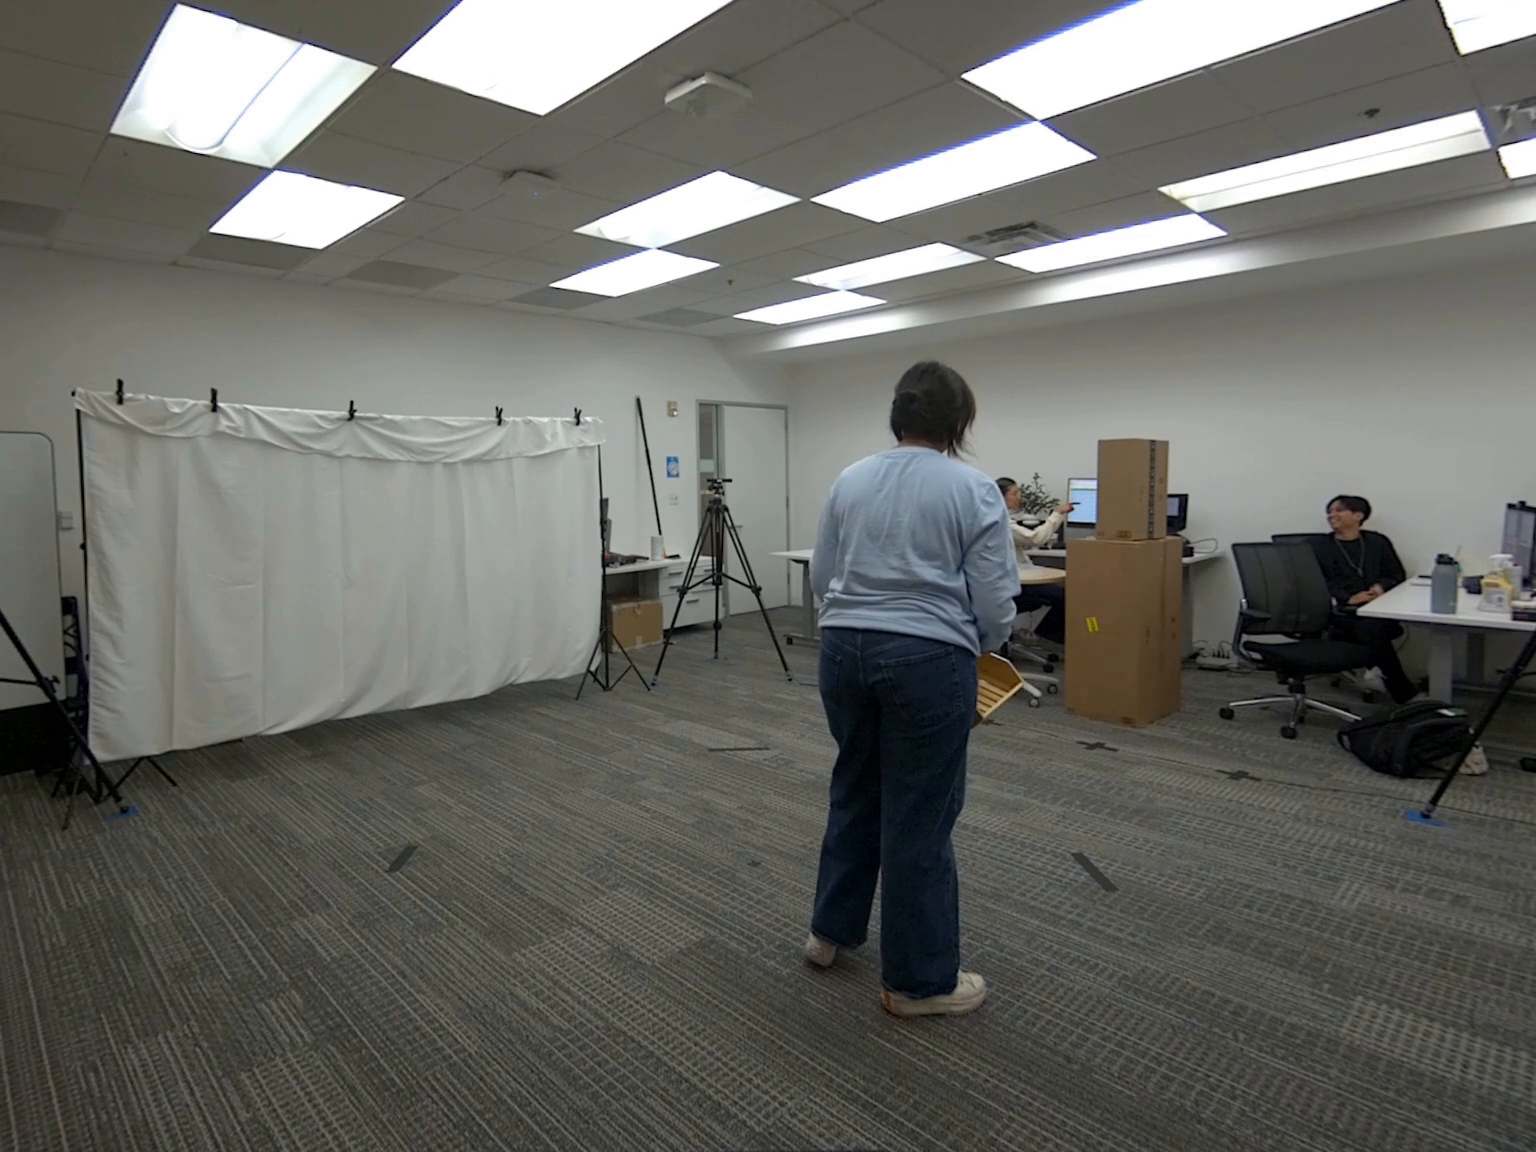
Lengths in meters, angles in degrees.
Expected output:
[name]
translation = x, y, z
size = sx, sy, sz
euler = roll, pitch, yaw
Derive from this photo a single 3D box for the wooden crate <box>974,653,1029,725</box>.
[wooden crate]
translation = 0.585, 0.218, 2.476
size = 0.312, 0.269, 0.318
euler = 23, 26, 32
